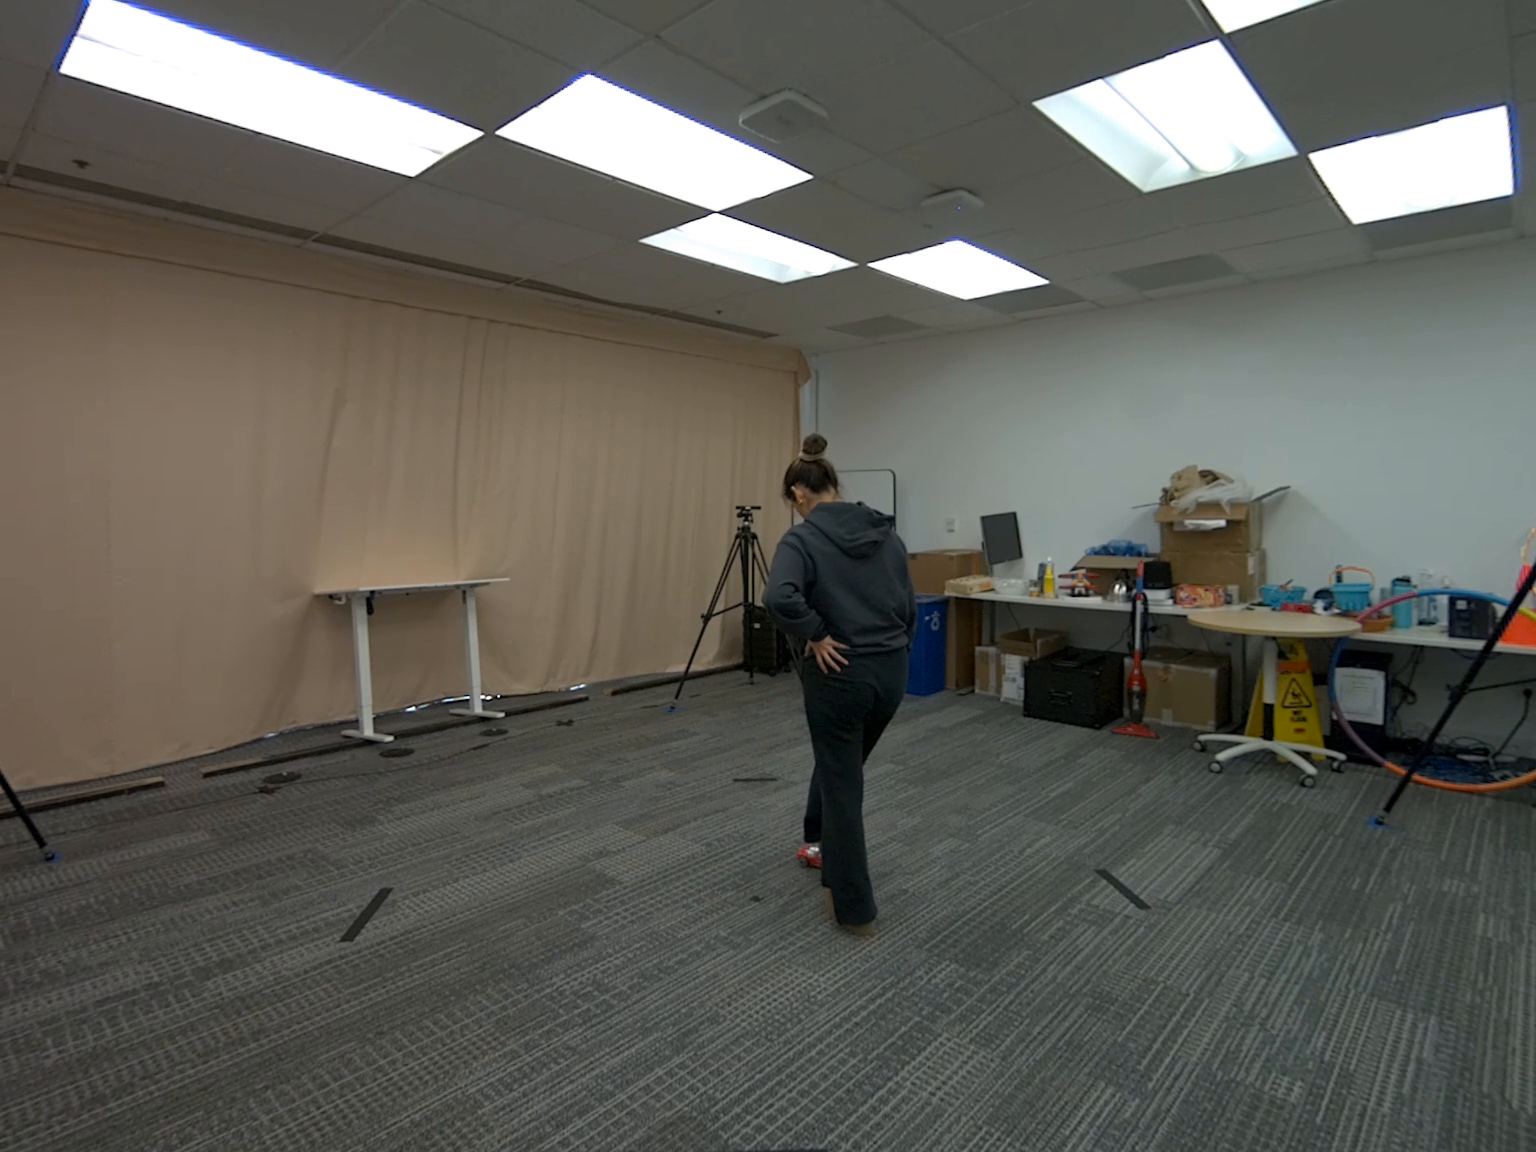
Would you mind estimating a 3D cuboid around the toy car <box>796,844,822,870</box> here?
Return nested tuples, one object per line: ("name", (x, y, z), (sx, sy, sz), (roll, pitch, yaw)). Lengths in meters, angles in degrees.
("toy car", (0.281, 1.082, 3.230), (0.261, 0.083, 0.127), (-9, -1, 29))
